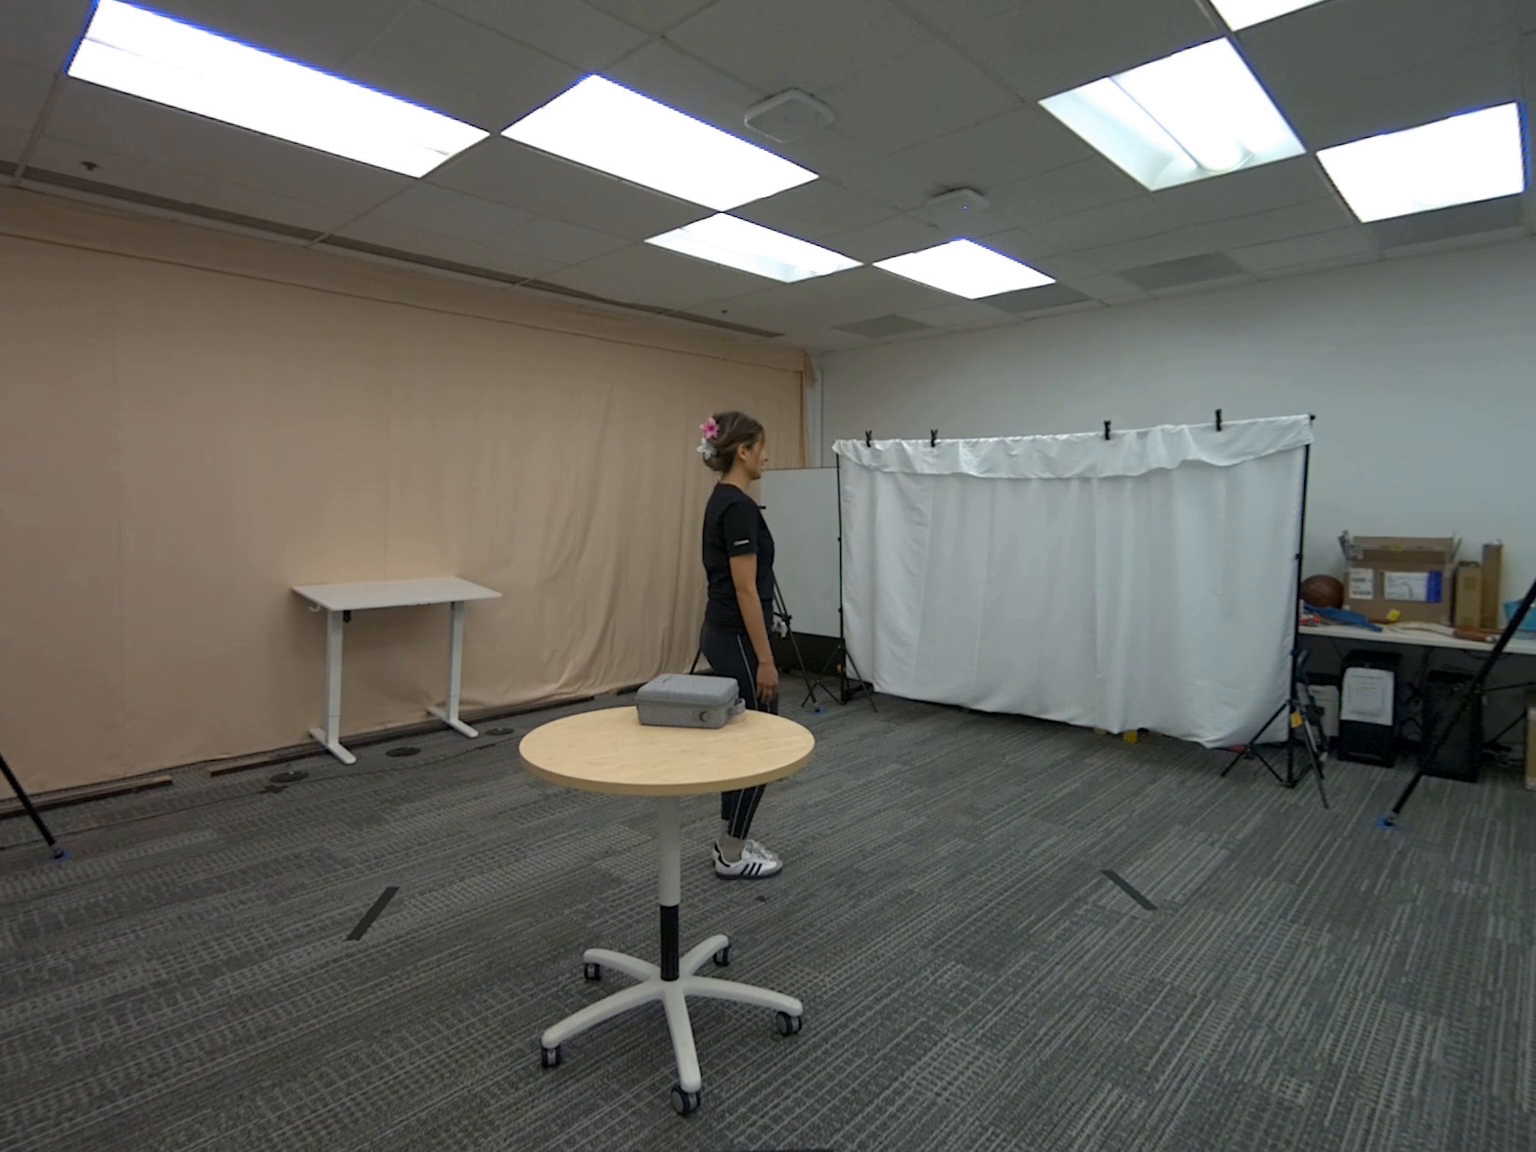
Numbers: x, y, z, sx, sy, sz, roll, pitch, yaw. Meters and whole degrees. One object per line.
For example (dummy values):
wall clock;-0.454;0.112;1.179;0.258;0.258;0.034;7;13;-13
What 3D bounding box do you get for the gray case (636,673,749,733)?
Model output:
gray case;-0.212;0.358;2.437;0.265;0.104;0.253;1;2;13
